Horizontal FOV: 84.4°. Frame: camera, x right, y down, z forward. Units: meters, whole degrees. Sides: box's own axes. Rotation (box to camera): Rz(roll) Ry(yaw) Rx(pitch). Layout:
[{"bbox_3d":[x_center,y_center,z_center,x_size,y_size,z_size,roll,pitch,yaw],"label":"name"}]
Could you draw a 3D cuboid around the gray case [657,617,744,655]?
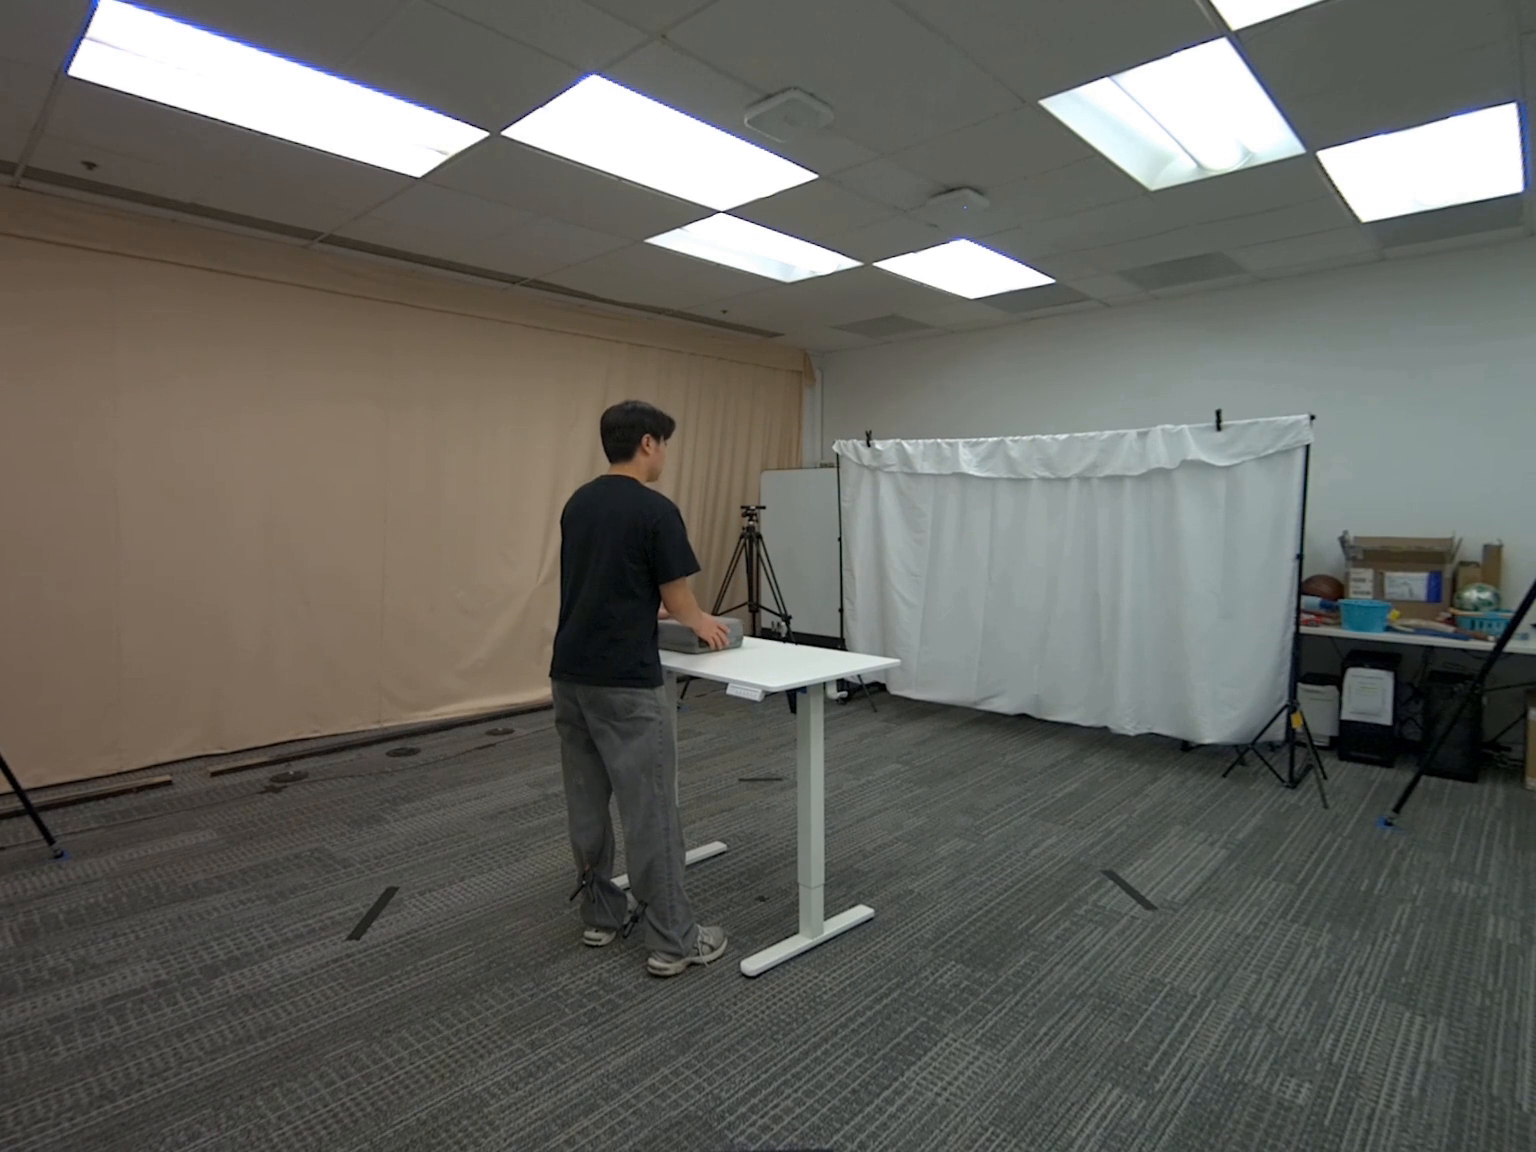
[{"bbox_3d":[-0.260,0.210,3.061,0.255,0.103,0.297,-5,6,-42],"label":"gray case"}]
